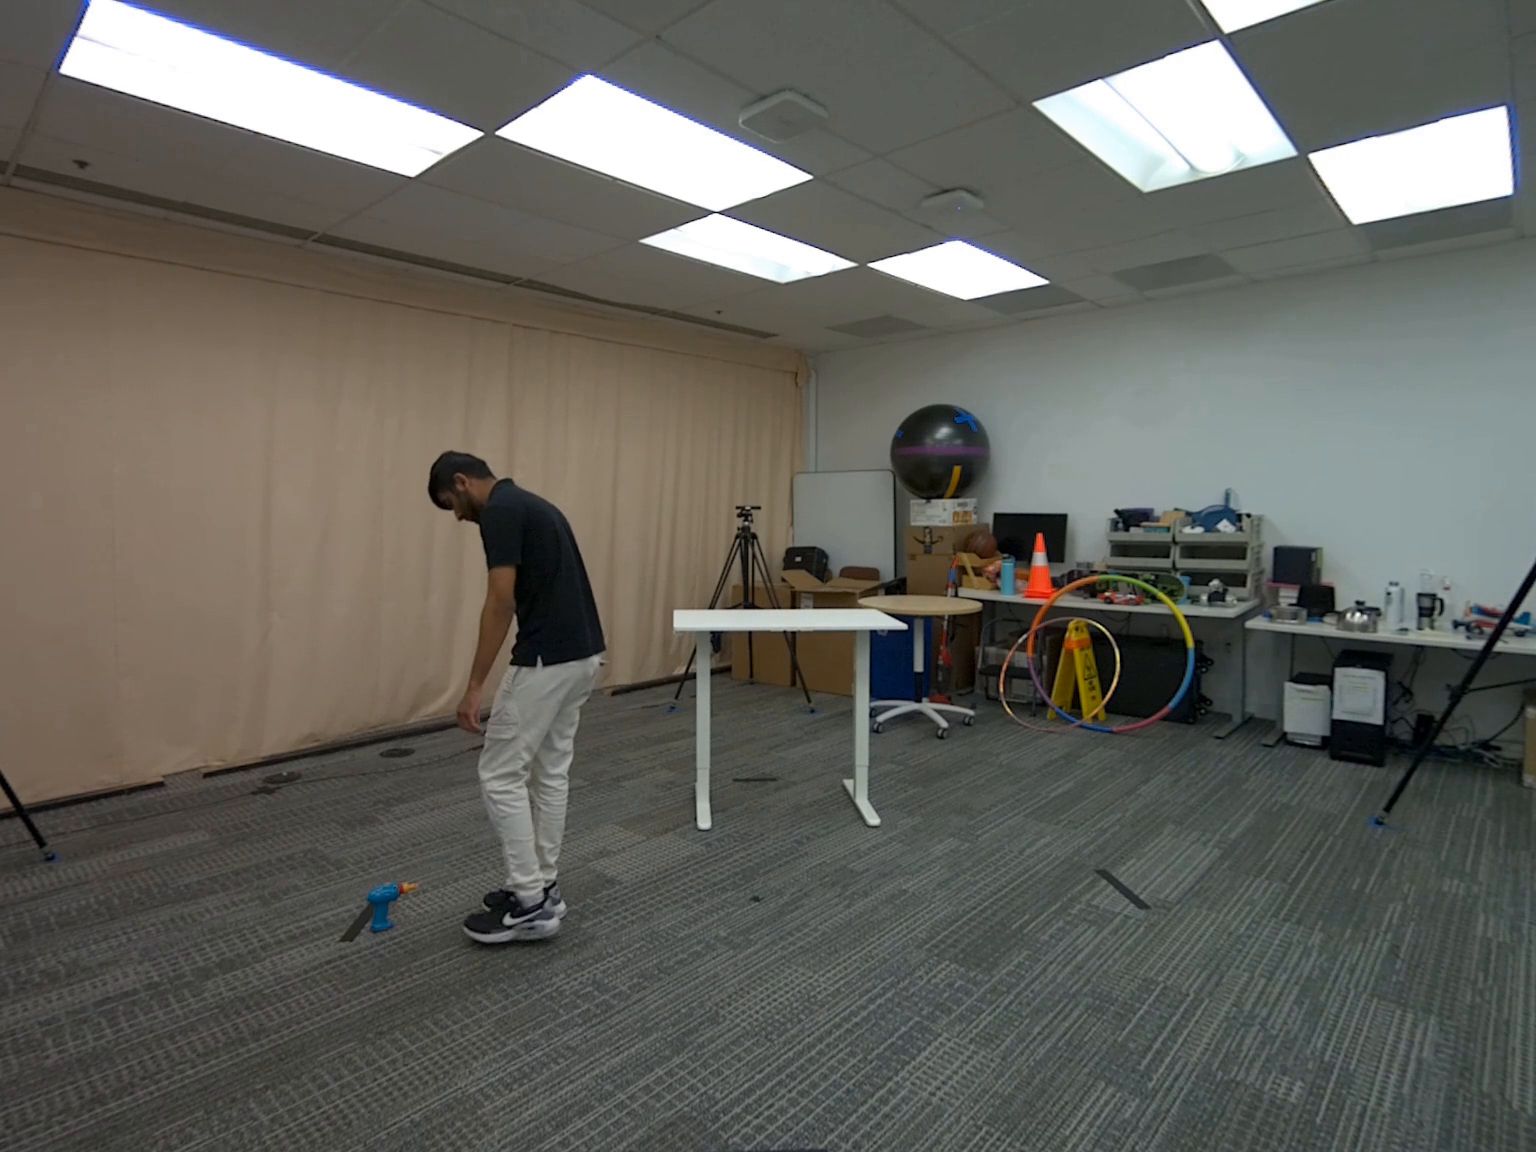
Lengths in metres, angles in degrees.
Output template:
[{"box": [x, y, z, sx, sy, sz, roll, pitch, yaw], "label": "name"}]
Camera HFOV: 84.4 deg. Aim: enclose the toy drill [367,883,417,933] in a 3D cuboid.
[{"box": [-1.262, 1.103, 2.809, 0.165, 0.145, 0.063, -6, 7, -40], "label": "toy drill"}]
